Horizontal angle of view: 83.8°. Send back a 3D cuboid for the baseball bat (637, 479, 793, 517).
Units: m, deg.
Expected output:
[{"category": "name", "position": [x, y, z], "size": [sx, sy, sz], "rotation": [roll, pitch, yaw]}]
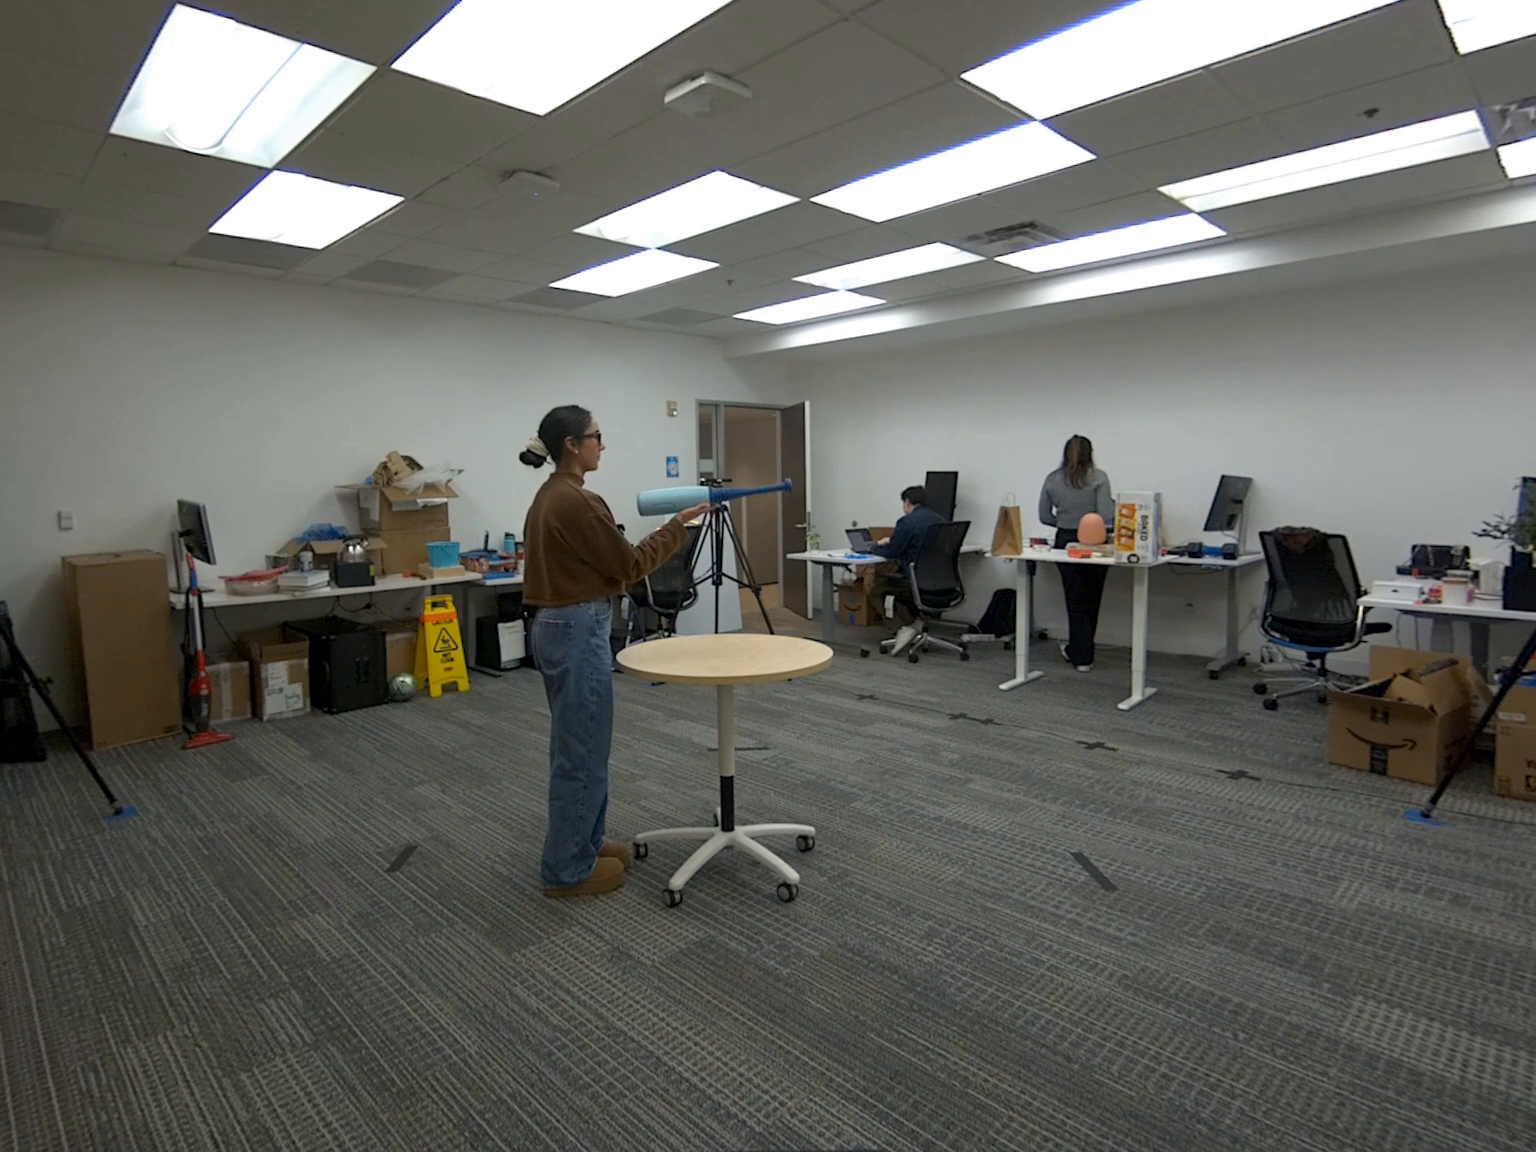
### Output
[{"category": "baseball bat", "position": [-0.197, -0.275, 2.974], "size": [0.542, 0.088, 0.089], "rotation": [-7, 5, -2]}]
